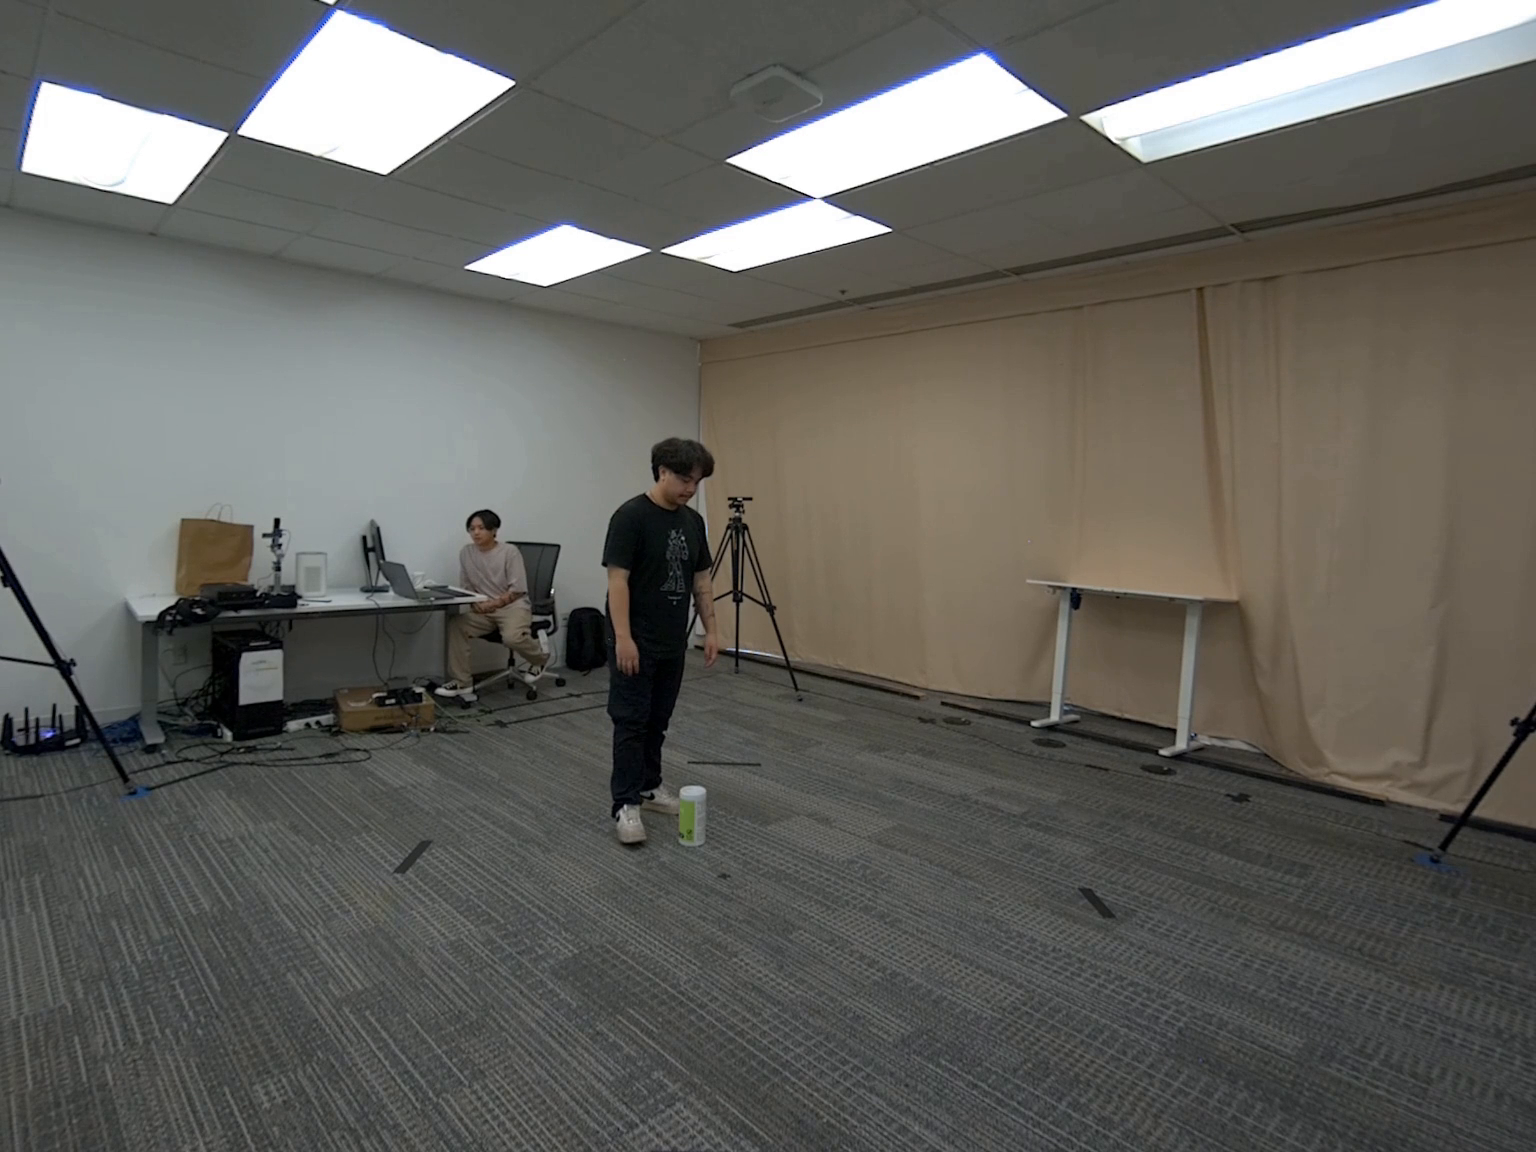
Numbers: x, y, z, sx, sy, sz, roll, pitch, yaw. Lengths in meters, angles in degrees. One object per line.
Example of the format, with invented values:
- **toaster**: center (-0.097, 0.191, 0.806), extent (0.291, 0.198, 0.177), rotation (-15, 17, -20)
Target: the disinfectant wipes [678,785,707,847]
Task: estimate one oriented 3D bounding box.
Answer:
- **disinfectant wipes**: center (-0.314, 0.970, 3.407), extent (0.118, 0.217, 0.118), rotation (2, 4, -1)
